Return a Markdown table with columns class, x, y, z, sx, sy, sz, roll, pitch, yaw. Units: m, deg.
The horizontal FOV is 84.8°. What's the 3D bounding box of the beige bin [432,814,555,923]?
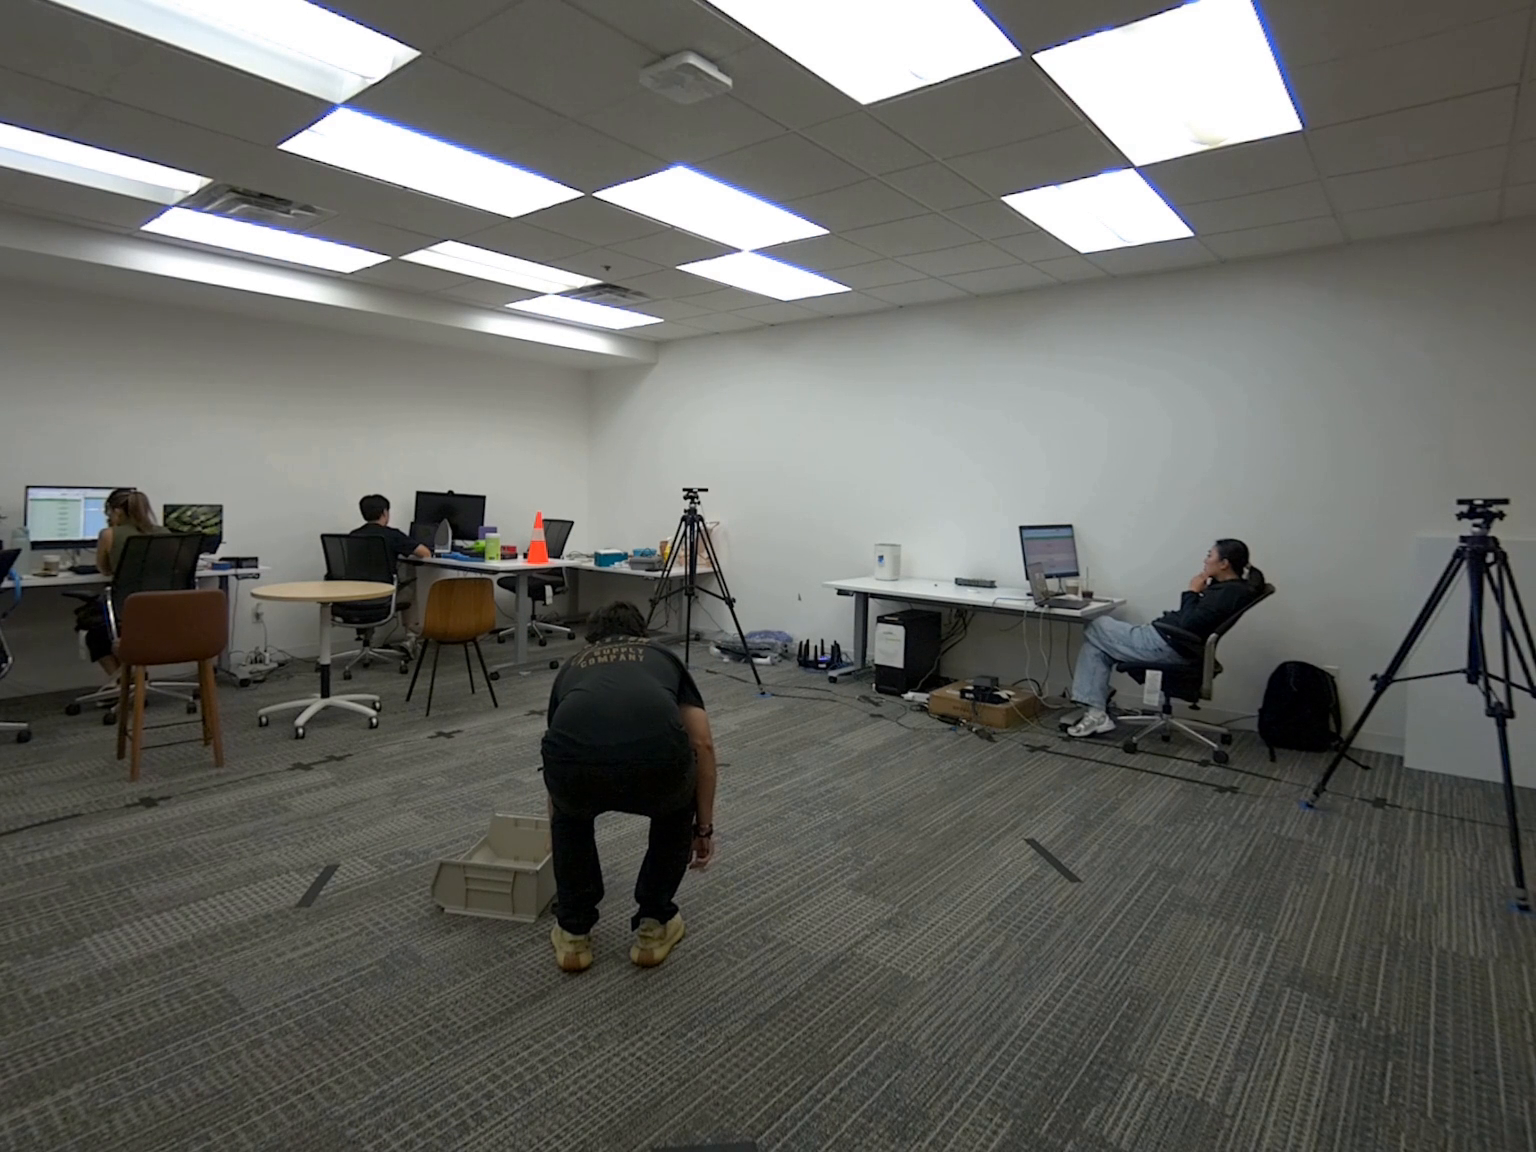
| class | x | y | z | sx | sy | sz | roll | pitch | yaw |
| --- | --- | --- | --- | --- | --- | --- | --- | --- | --- |
| beige bin | -0.903 | 0.989 | 2.926 | 0.381 | 0.188 | 0.420 | 3 | 5 | 8 |
